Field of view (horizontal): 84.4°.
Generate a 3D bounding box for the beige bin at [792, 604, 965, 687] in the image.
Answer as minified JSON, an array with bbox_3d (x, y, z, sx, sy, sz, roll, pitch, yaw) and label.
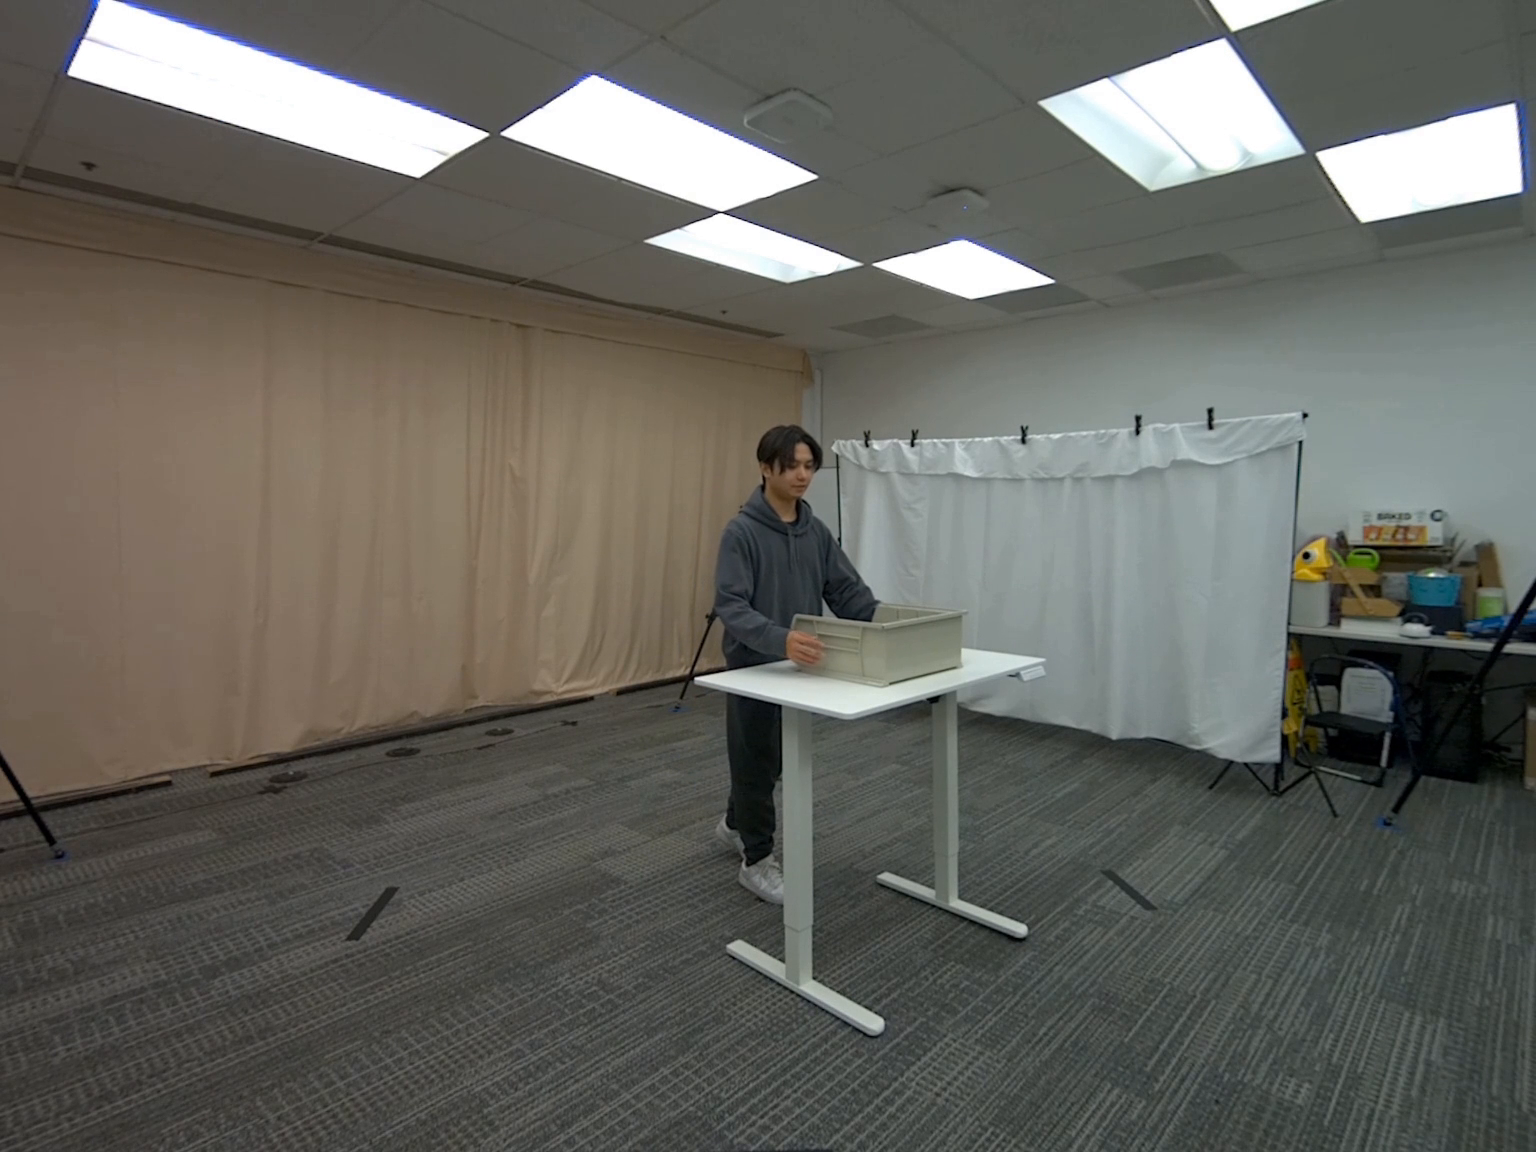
[{"bbox_3d":[0.349,0.209,2.603,0.409,0.188,0.390,-4,6,-43],"label":"beige bin"}]
